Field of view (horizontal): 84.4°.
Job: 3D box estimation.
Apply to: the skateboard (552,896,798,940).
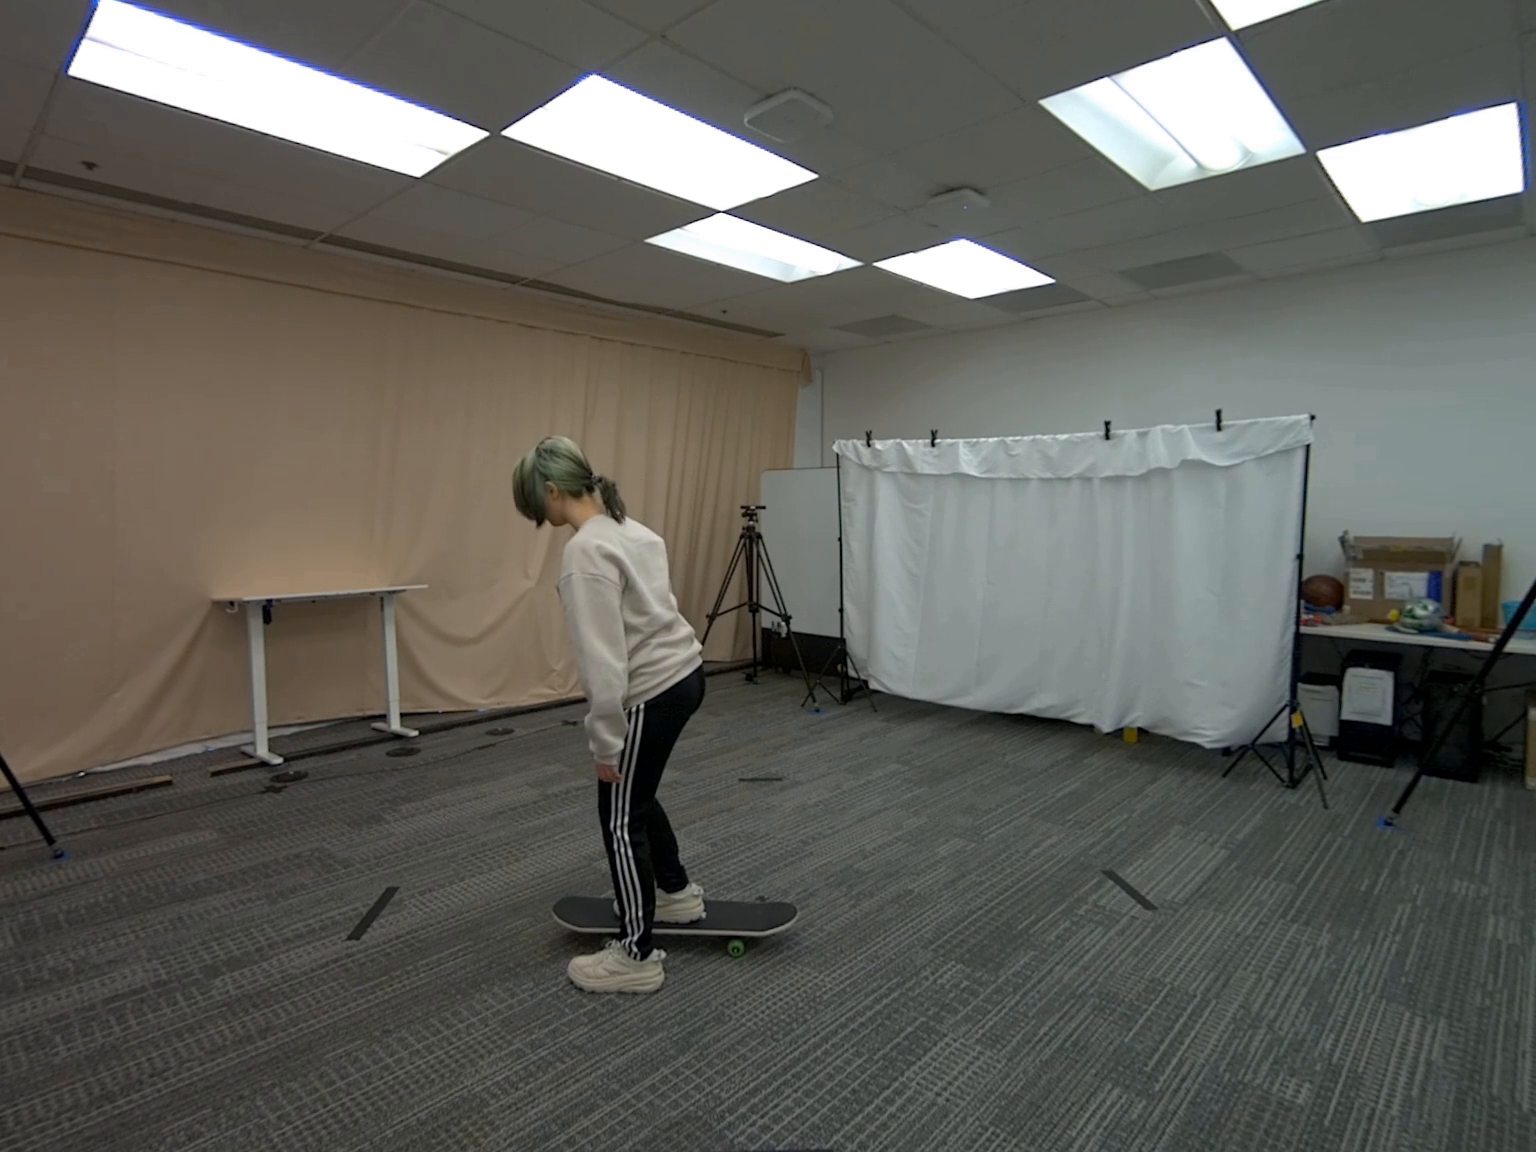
[{"bbox_3d":[-0.297,1.116,2.686,0.789,0.110,0.193,0,6,4],"label":"skateboard"}]
